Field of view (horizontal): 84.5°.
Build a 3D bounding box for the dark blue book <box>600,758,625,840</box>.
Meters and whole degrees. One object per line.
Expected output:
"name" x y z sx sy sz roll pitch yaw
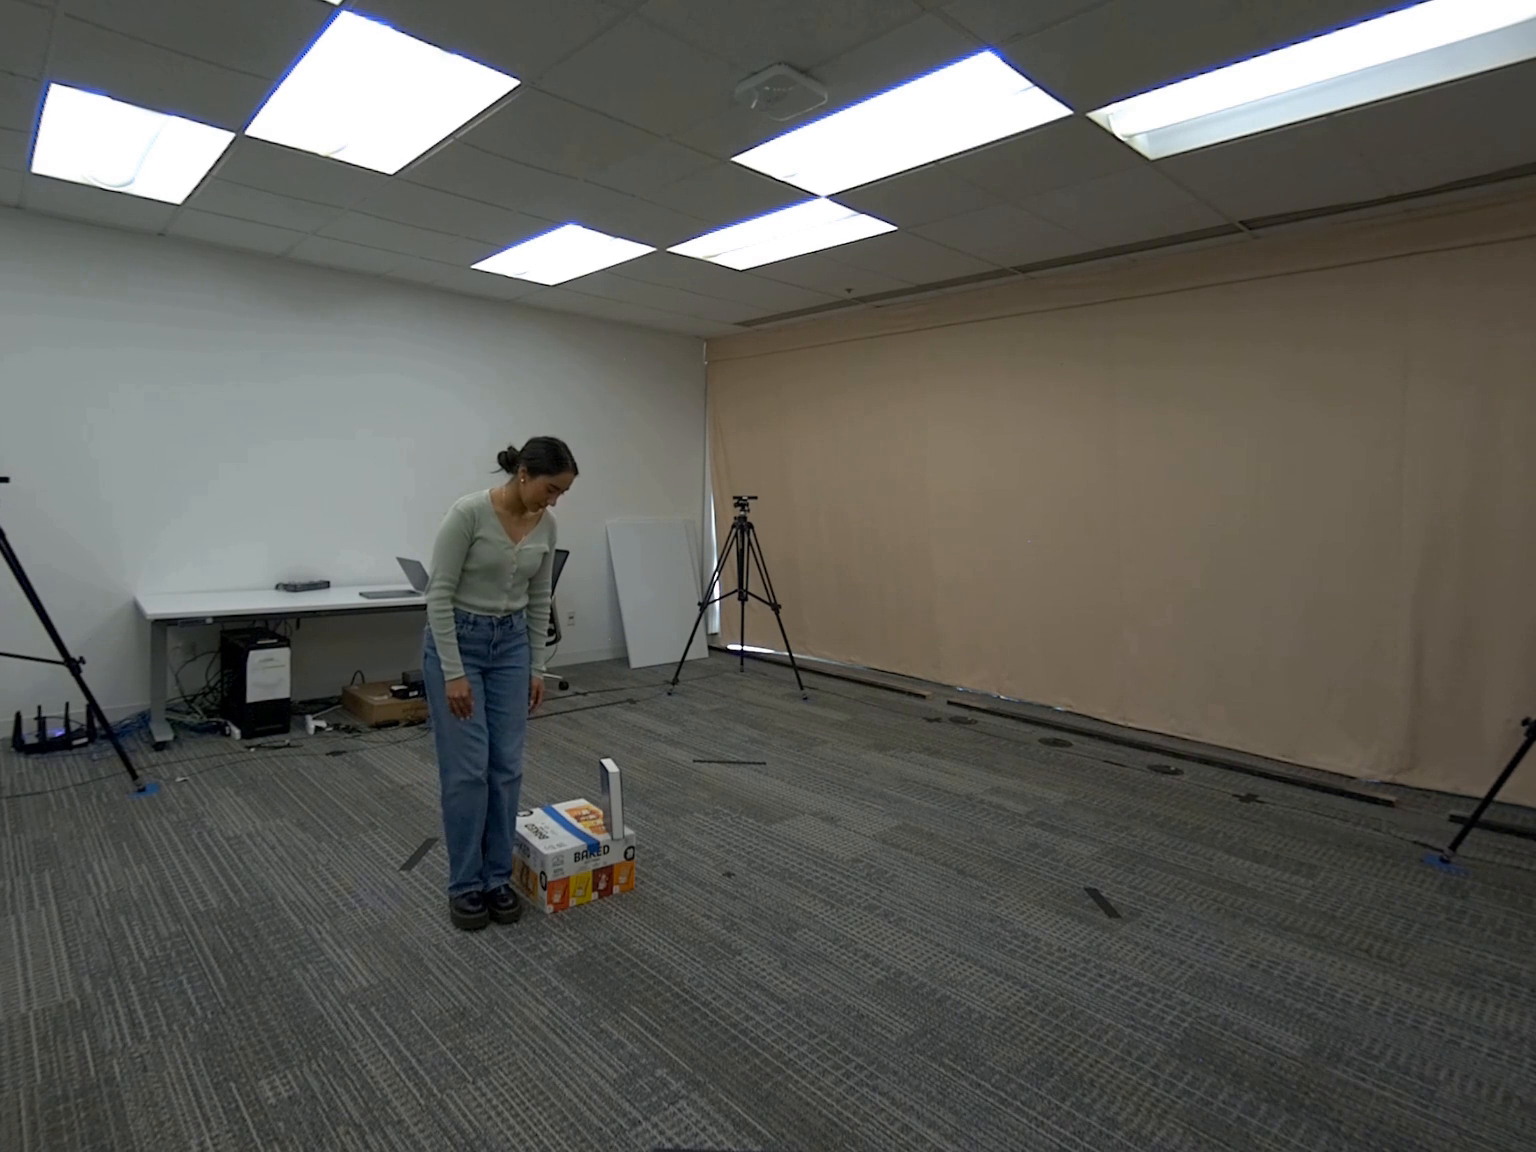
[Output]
"dark blue book" -0.560 0.783 2.974 0.044 0.244 0.166 -1 3 -21
